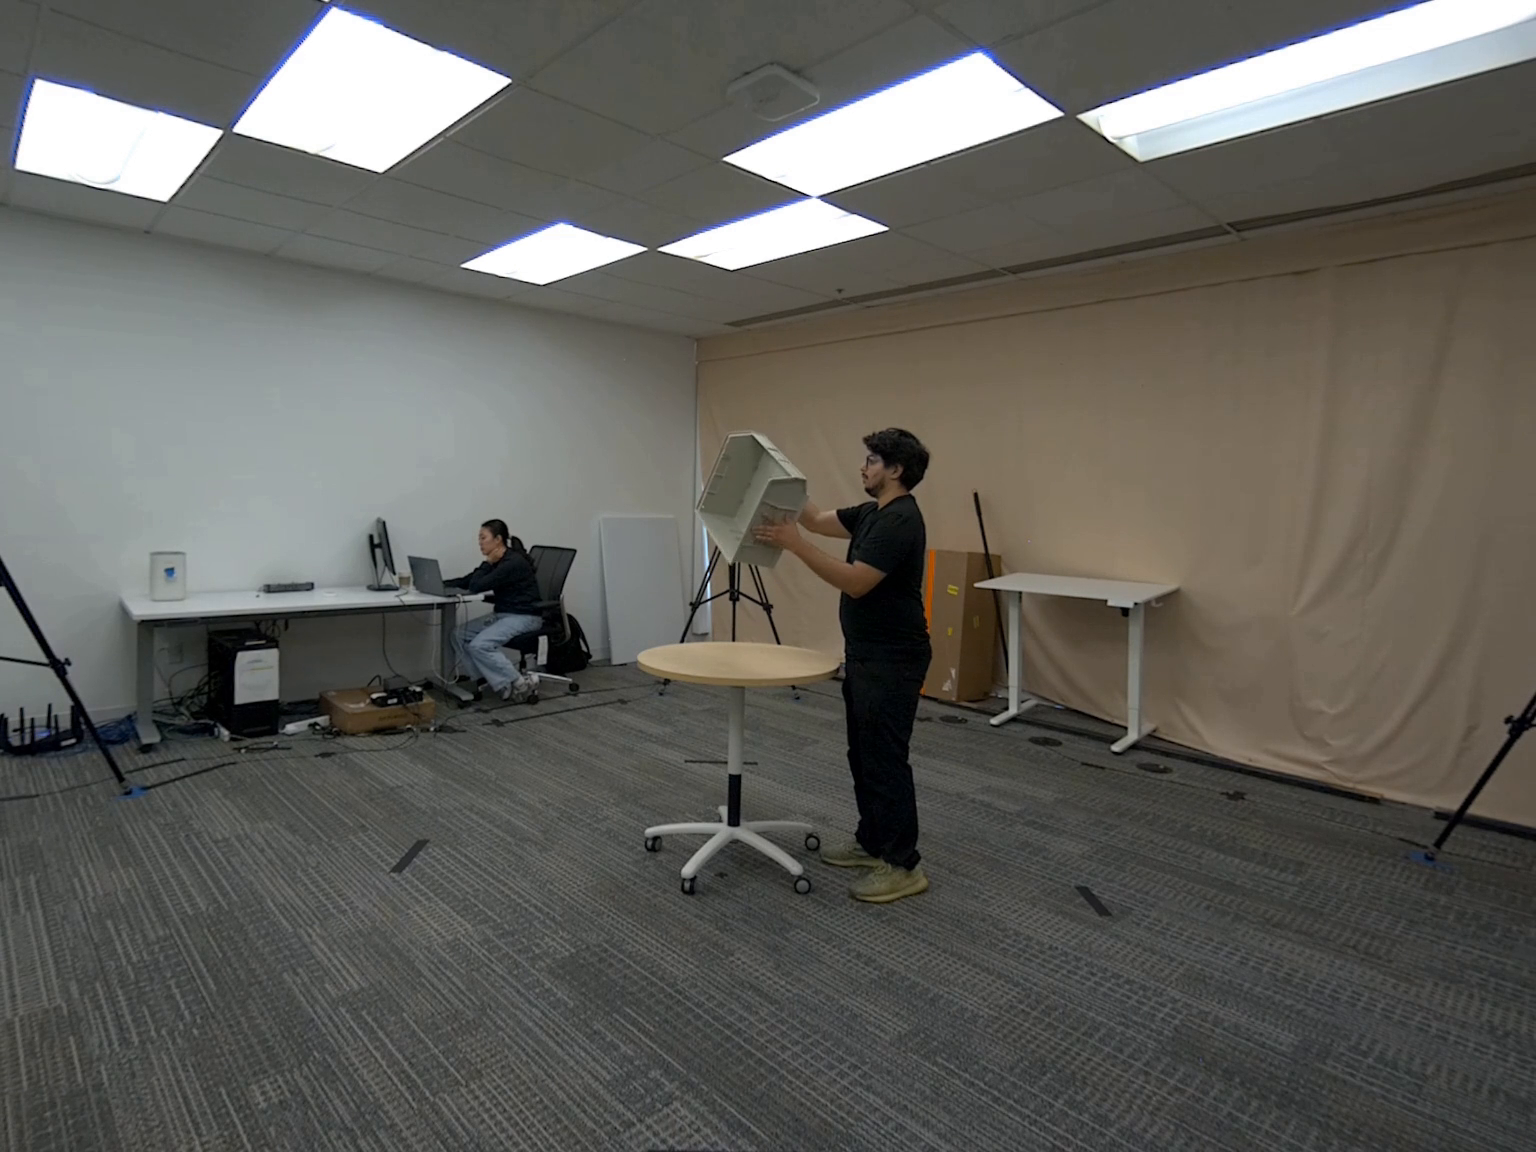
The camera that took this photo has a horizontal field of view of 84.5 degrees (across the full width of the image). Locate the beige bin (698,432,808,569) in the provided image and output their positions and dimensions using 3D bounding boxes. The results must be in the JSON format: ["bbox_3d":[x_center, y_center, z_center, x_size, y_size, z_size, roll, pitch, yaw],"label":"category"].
[{"bbox_3d":[-0.064,-0.285,3.105,0.184,0.374,0.435,11,26,-30],"label":"beige bin"}]
